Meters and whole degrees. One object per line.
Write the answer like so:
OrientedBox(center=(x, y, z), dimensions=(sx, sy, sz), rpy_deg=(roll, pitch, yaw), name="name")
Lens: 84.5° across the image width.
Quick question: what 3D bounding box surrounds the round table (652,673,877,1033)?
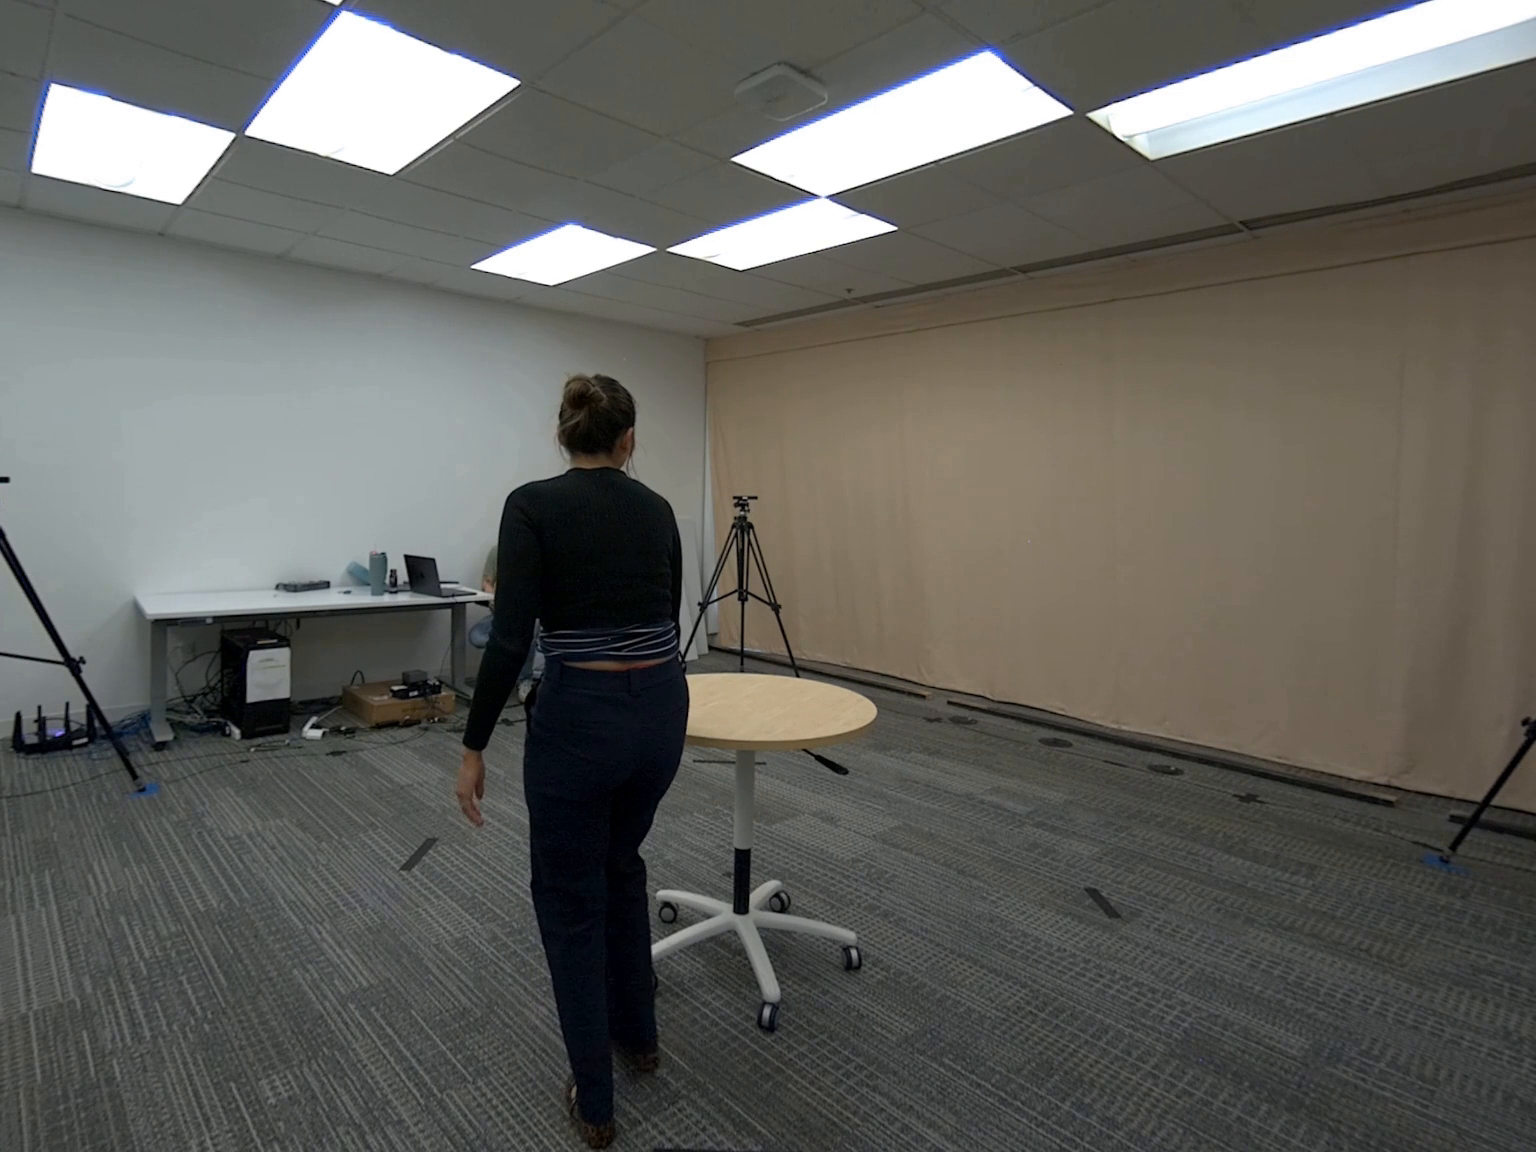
OrientedBox(center=(-0.081, 0.769, 2.529), dimensions=(0.763, 0.791, 0.767), rpy_deg=(1, 5, -1), name="round table")
